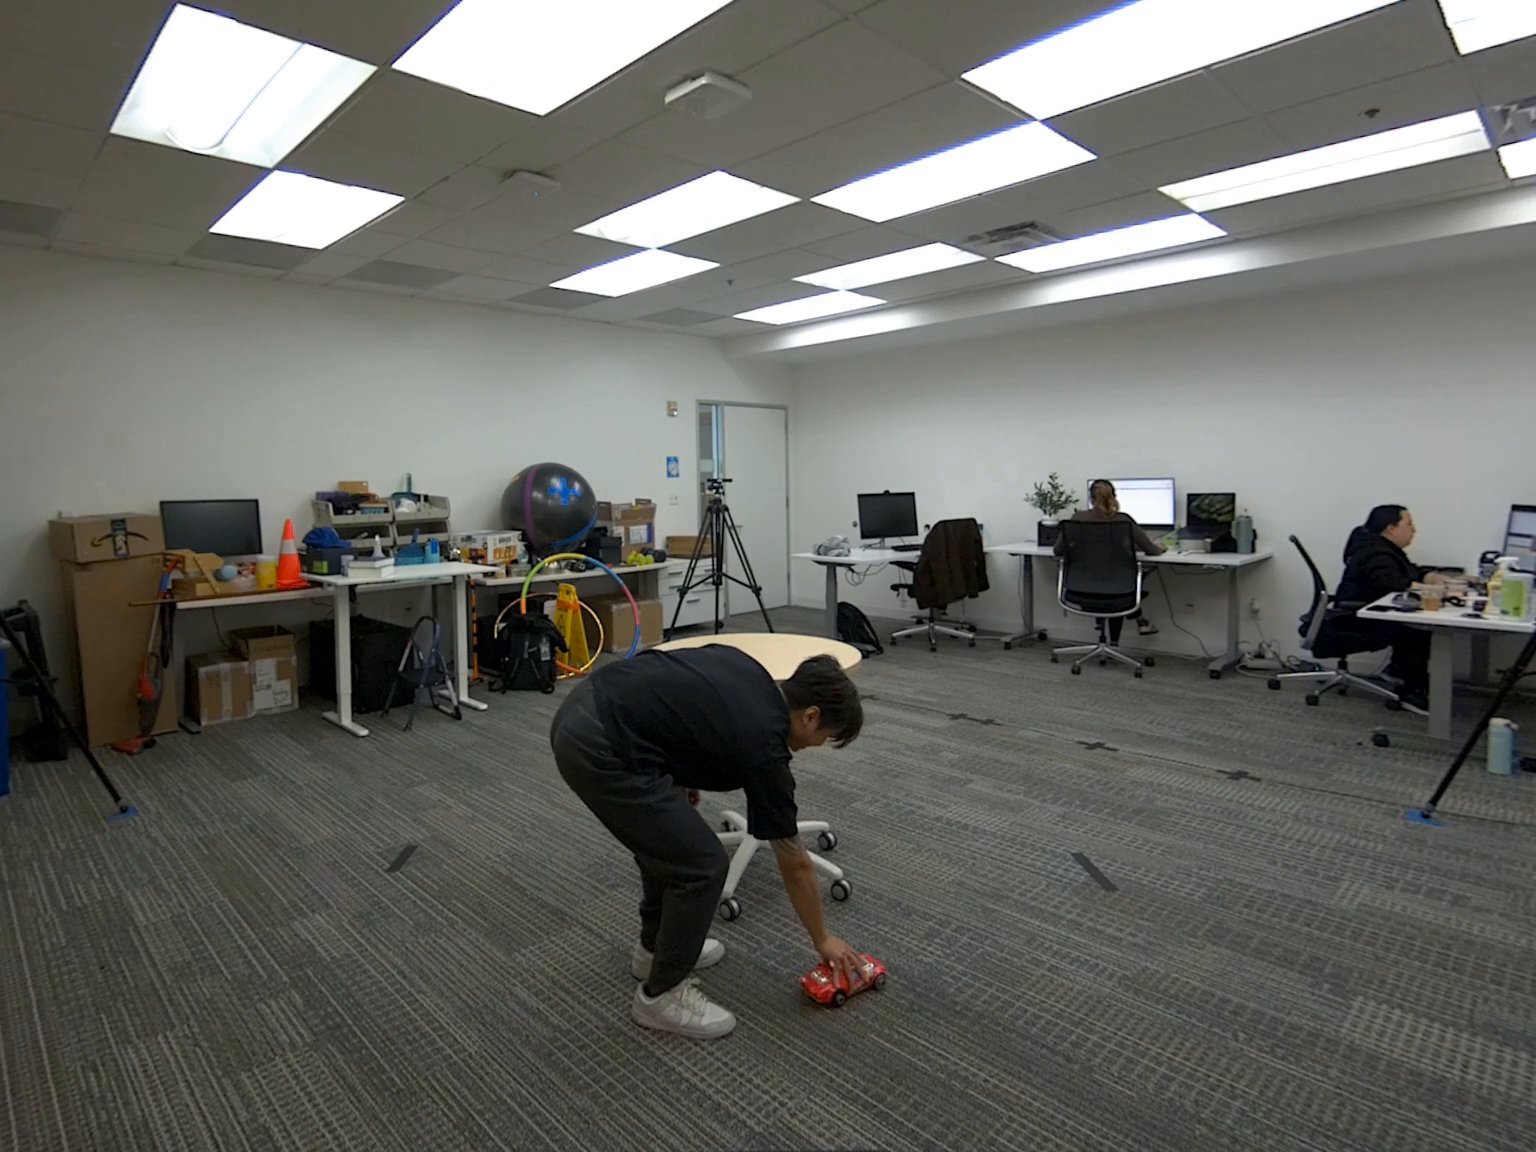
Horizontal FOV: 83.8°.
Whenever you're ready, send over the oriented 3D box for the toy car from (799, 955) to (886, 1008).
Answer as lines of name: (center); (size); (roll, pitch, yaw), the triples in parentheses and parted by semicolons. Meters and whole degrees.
toy car: (0.207, 1.103, 2.324); (0.247, 0.083, 0.134); (7, 1, -33)
